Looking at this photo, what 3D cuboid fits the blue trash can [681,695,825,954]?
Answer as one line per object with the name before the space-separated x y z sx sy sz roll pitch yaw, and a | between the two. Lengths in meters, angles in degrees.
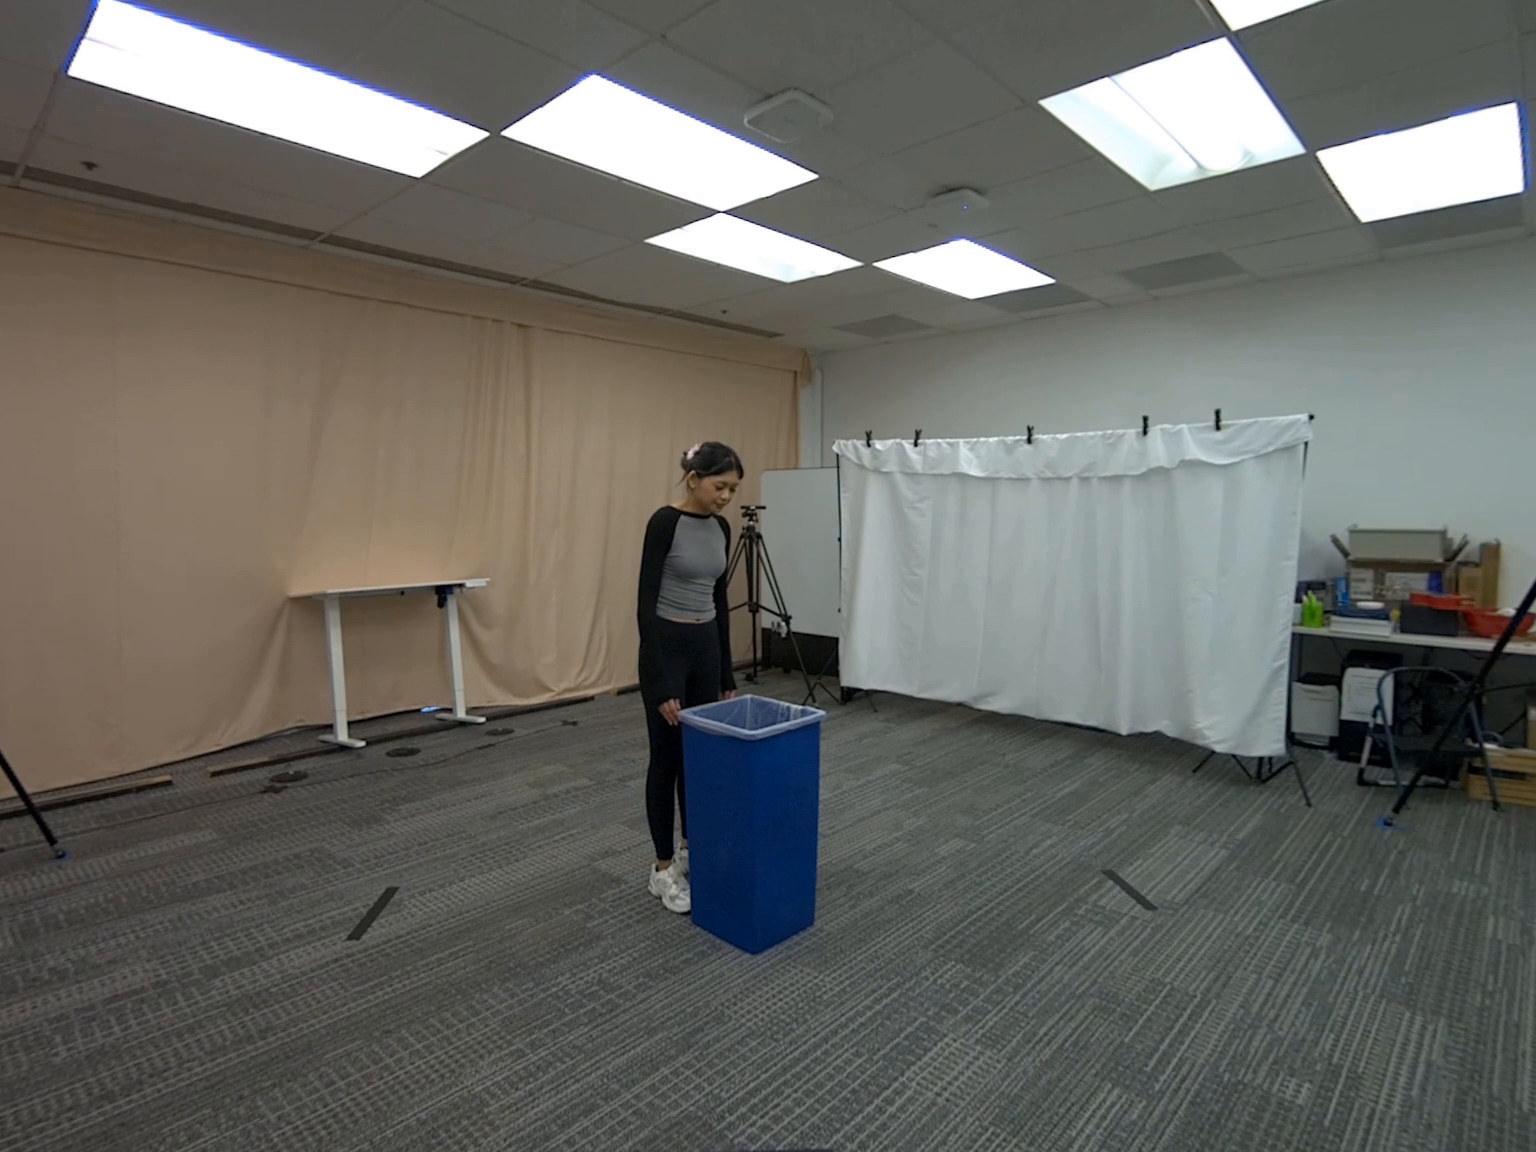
blue trash can | -0.049 0.801 2.785 0.390 0.712 0.362 3 4 44
